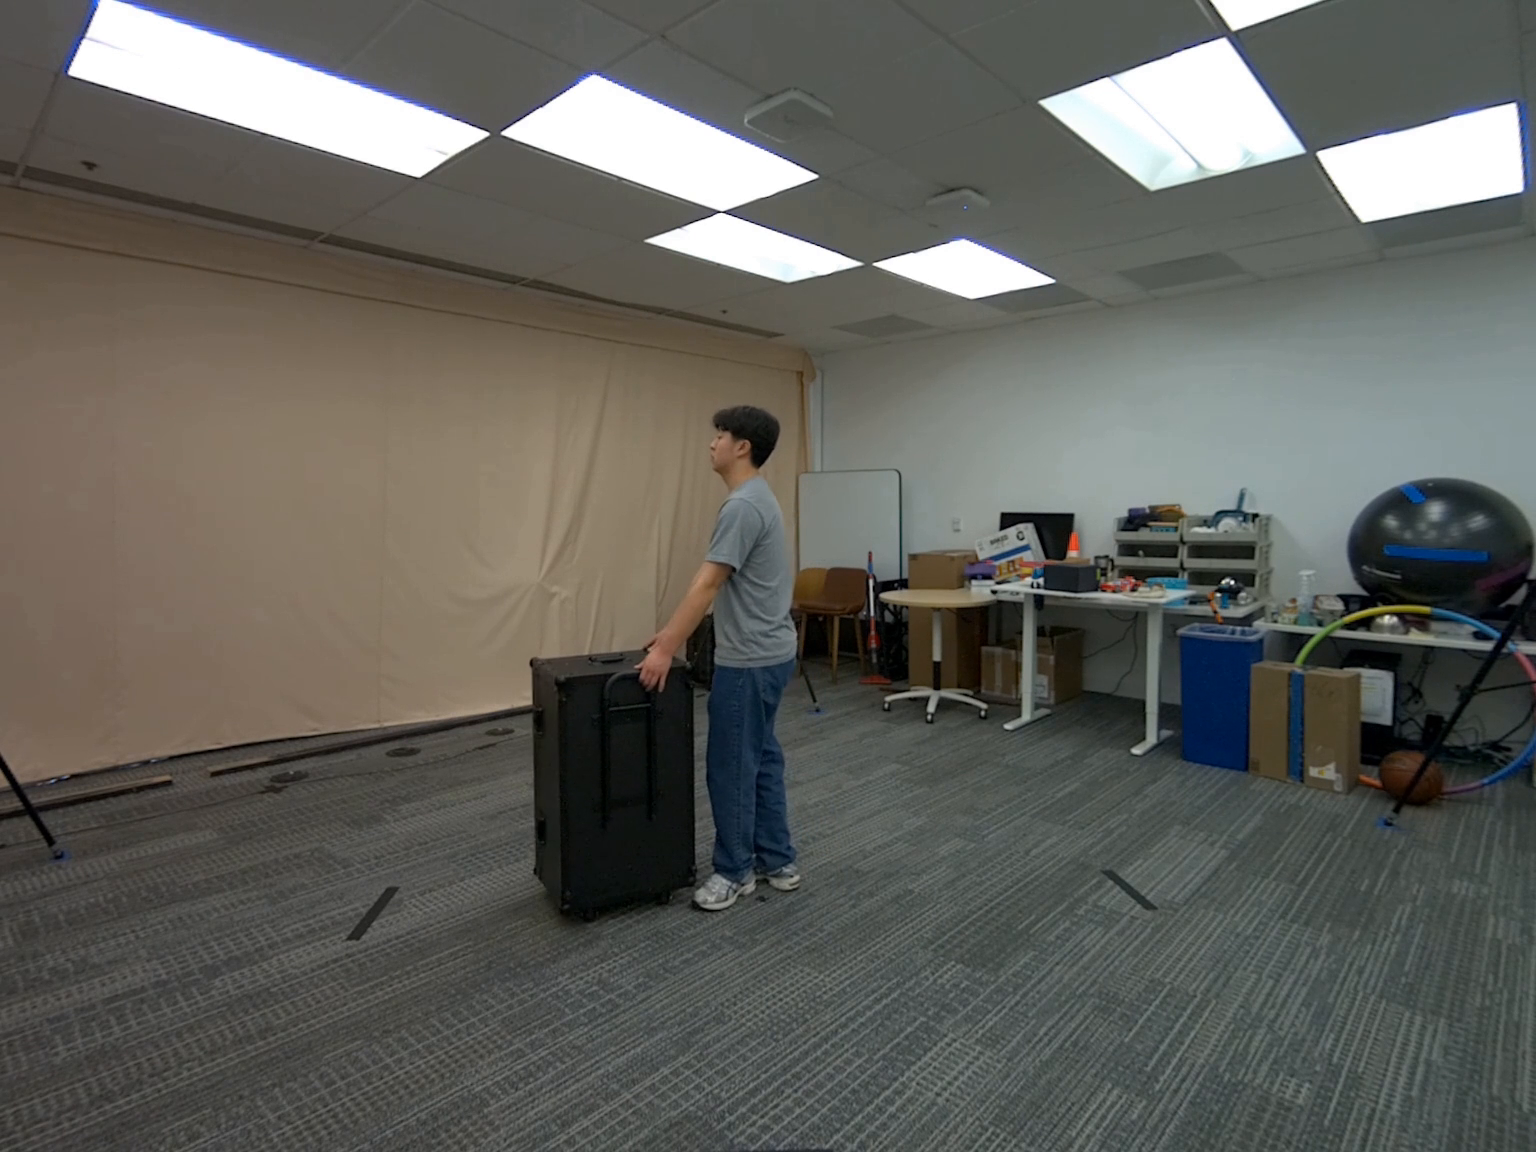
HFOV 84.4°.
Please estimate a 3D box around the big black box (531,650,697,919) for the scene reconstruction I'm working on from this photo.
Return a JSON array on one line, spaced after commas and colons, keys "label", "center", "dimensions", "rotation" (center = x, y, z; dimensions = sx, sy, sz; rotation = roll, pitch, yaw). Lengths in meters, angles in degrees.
[{"label": "big black box", "center": [-0.542, 0.729, 2.963], "dimensions": [0.508, 0.859, 0.407], "rotation": [-2, 5, -27]}]
